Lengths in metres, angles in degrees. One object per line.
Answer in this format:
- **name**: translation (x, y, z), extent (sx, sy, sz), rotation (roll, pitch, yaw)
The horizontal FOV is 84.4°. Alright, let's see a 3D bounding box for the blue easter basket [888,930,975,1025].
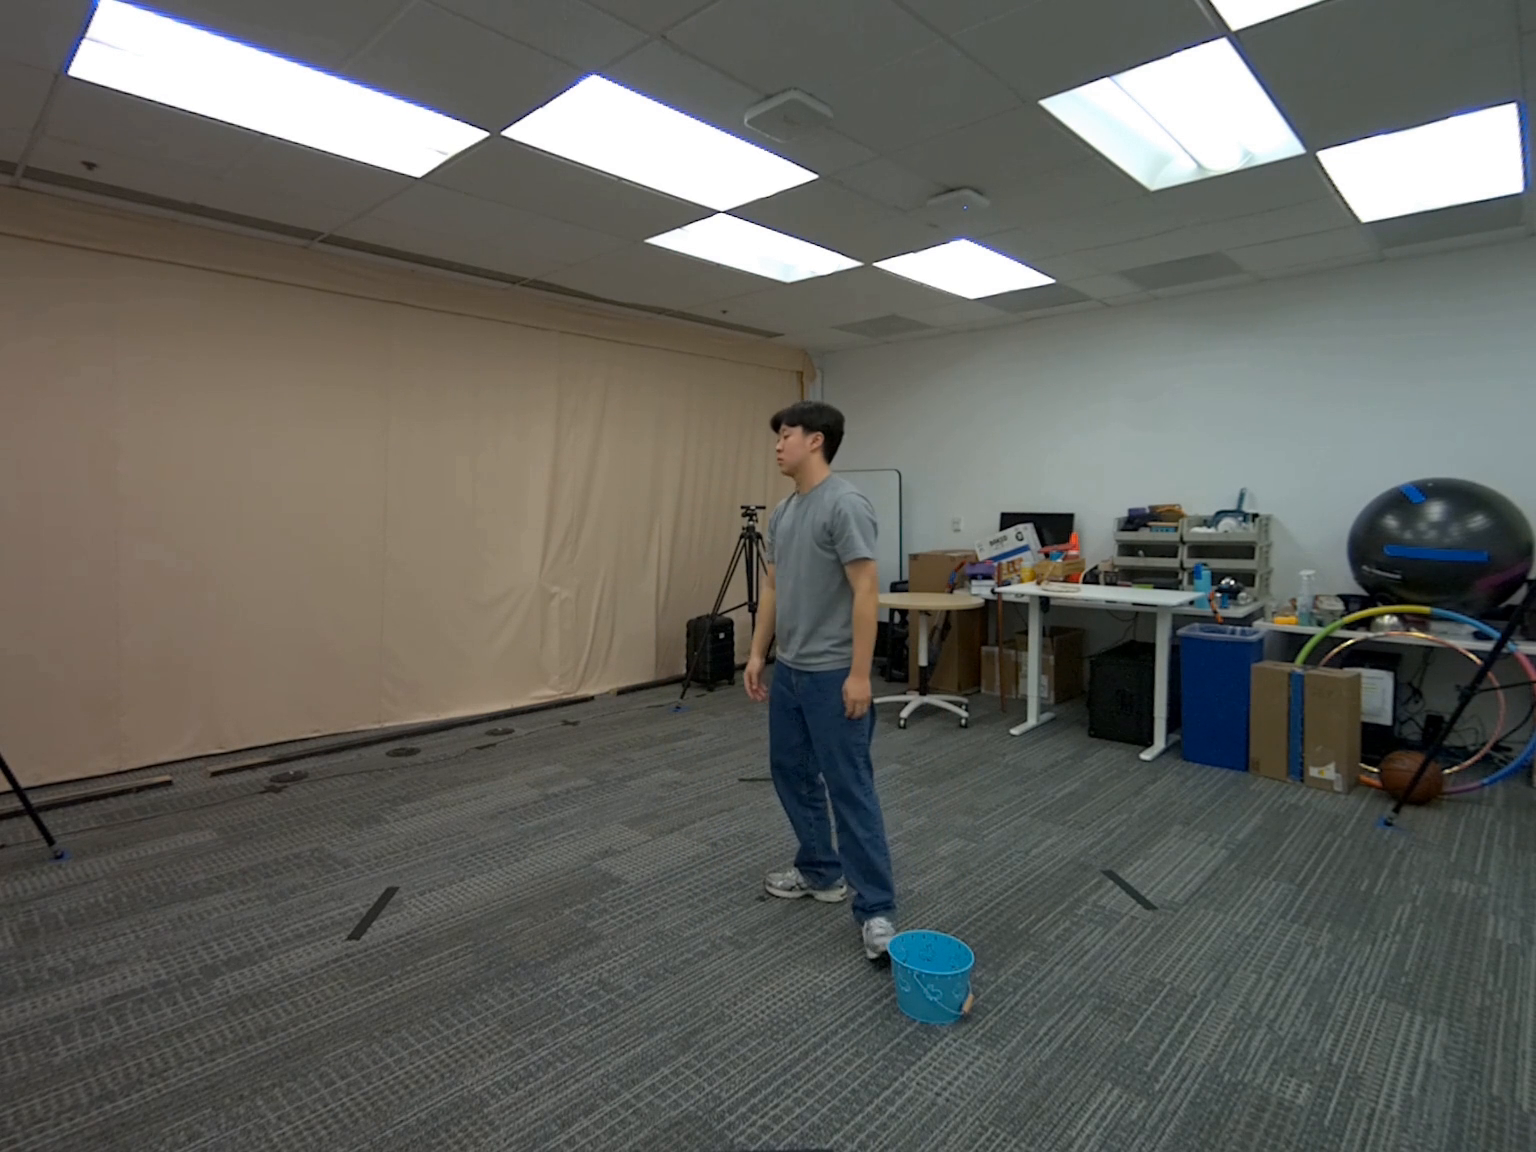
- **blue easter basket**: translation (0.460, 1.118, 2.340), extent (0.243, 0.155, 0.244), rotation (0, 4, -2)
